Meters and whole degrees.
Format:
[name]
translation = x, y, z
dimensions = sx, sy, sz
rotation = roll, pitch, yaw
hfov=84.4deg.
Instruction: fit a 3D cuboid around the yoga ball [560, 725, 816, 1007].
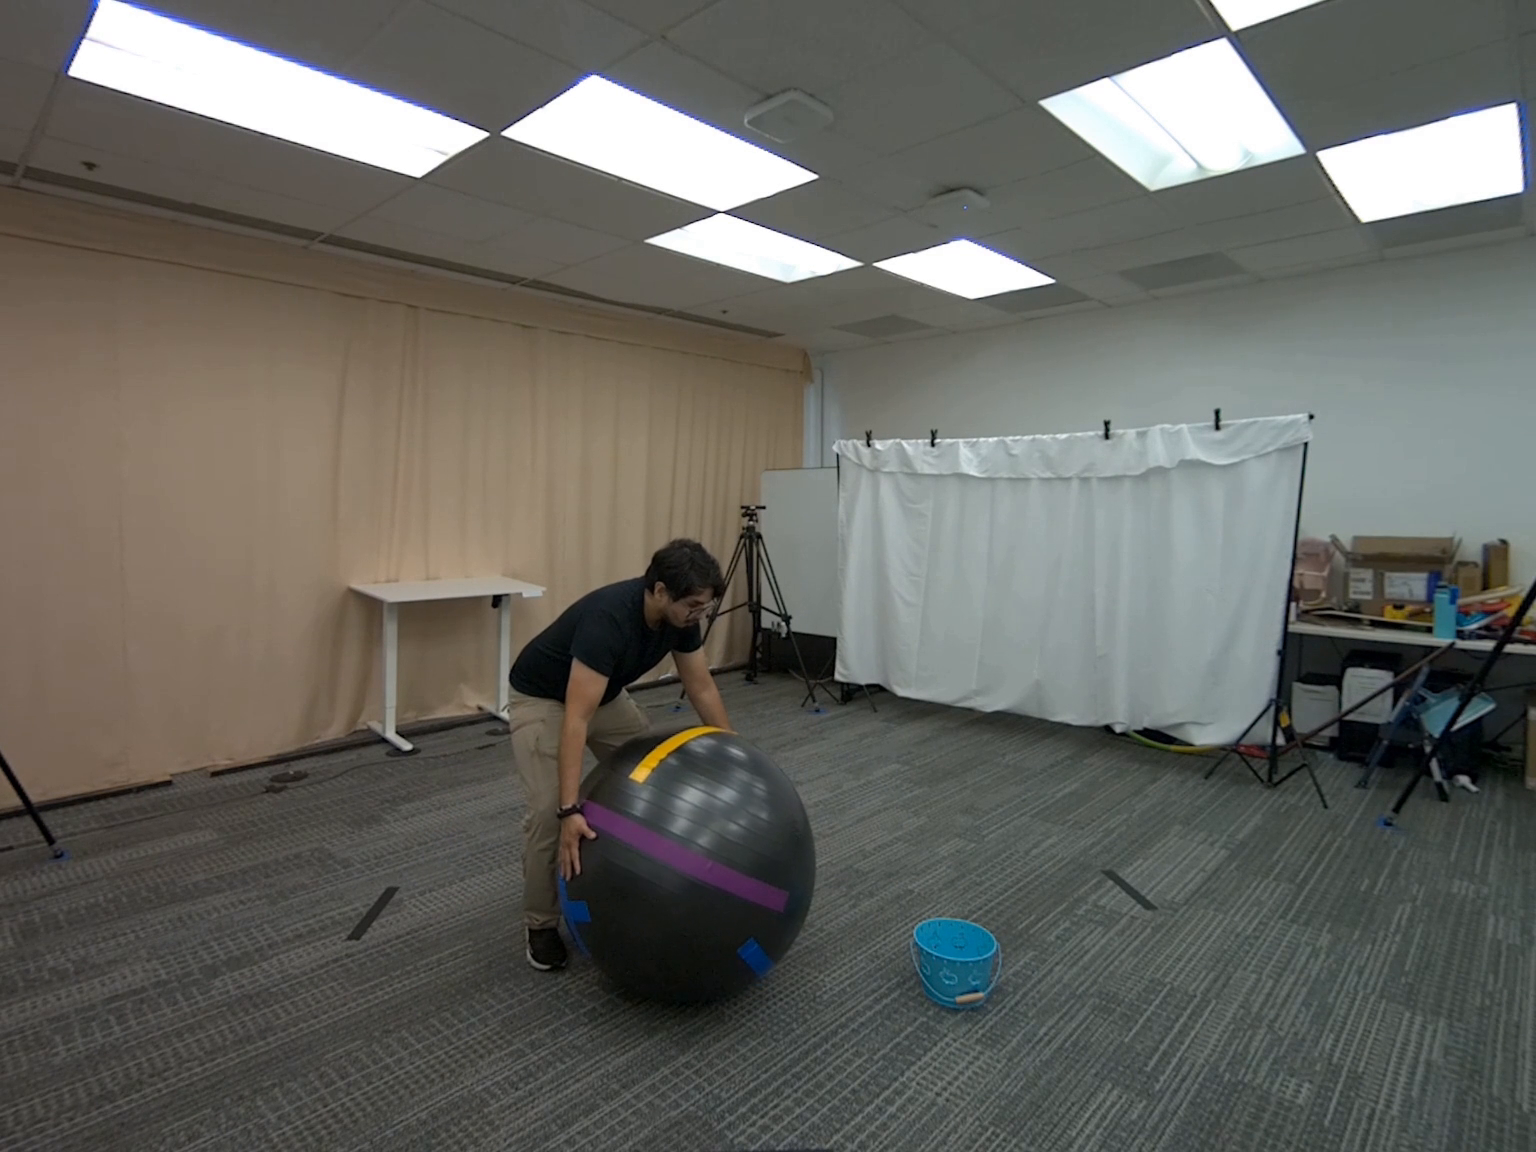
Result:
[yoga ball]
translation = -0.235, 0.838, 2.468
dimensions = 0.757, 0.756, 0.760
rotation = 0, 4, -2
